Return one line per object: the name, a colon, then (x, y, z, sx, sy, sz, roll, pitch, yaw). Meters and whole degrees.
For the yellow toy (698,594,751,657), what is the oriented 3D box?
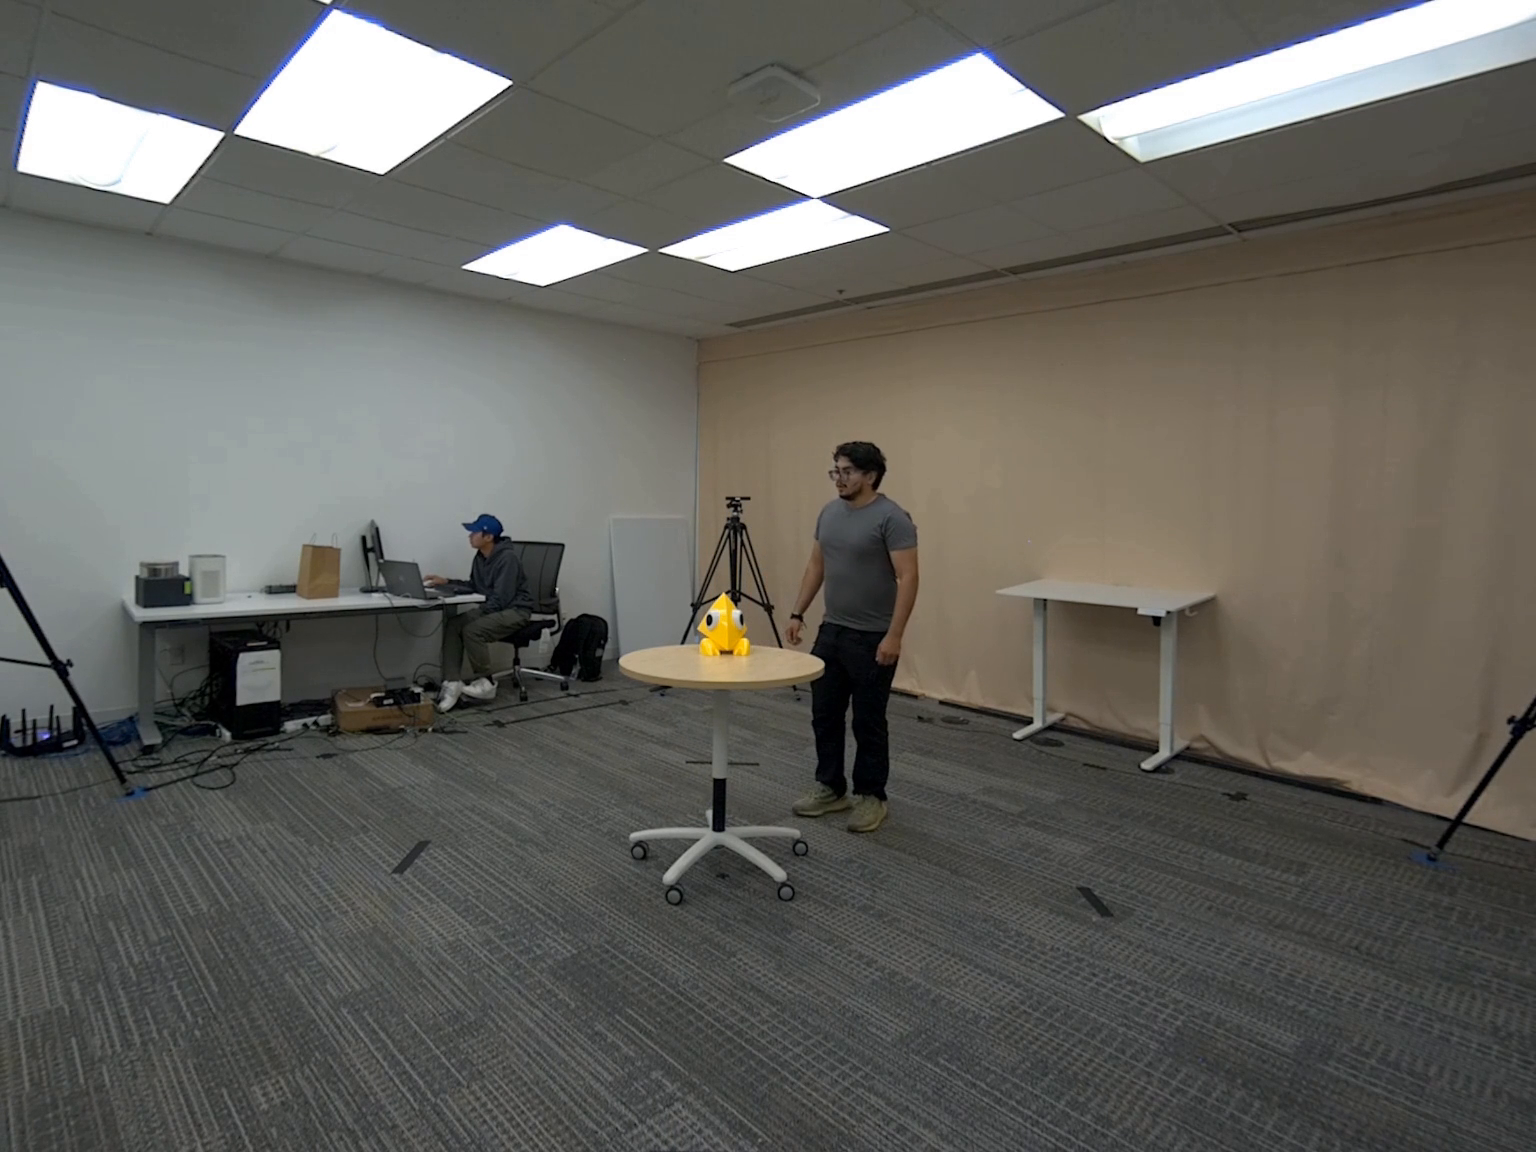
yellow toy: (-0.179, 0.188, 3.333, 0.203, 0.230, 0.194, 1, 2, -8)
